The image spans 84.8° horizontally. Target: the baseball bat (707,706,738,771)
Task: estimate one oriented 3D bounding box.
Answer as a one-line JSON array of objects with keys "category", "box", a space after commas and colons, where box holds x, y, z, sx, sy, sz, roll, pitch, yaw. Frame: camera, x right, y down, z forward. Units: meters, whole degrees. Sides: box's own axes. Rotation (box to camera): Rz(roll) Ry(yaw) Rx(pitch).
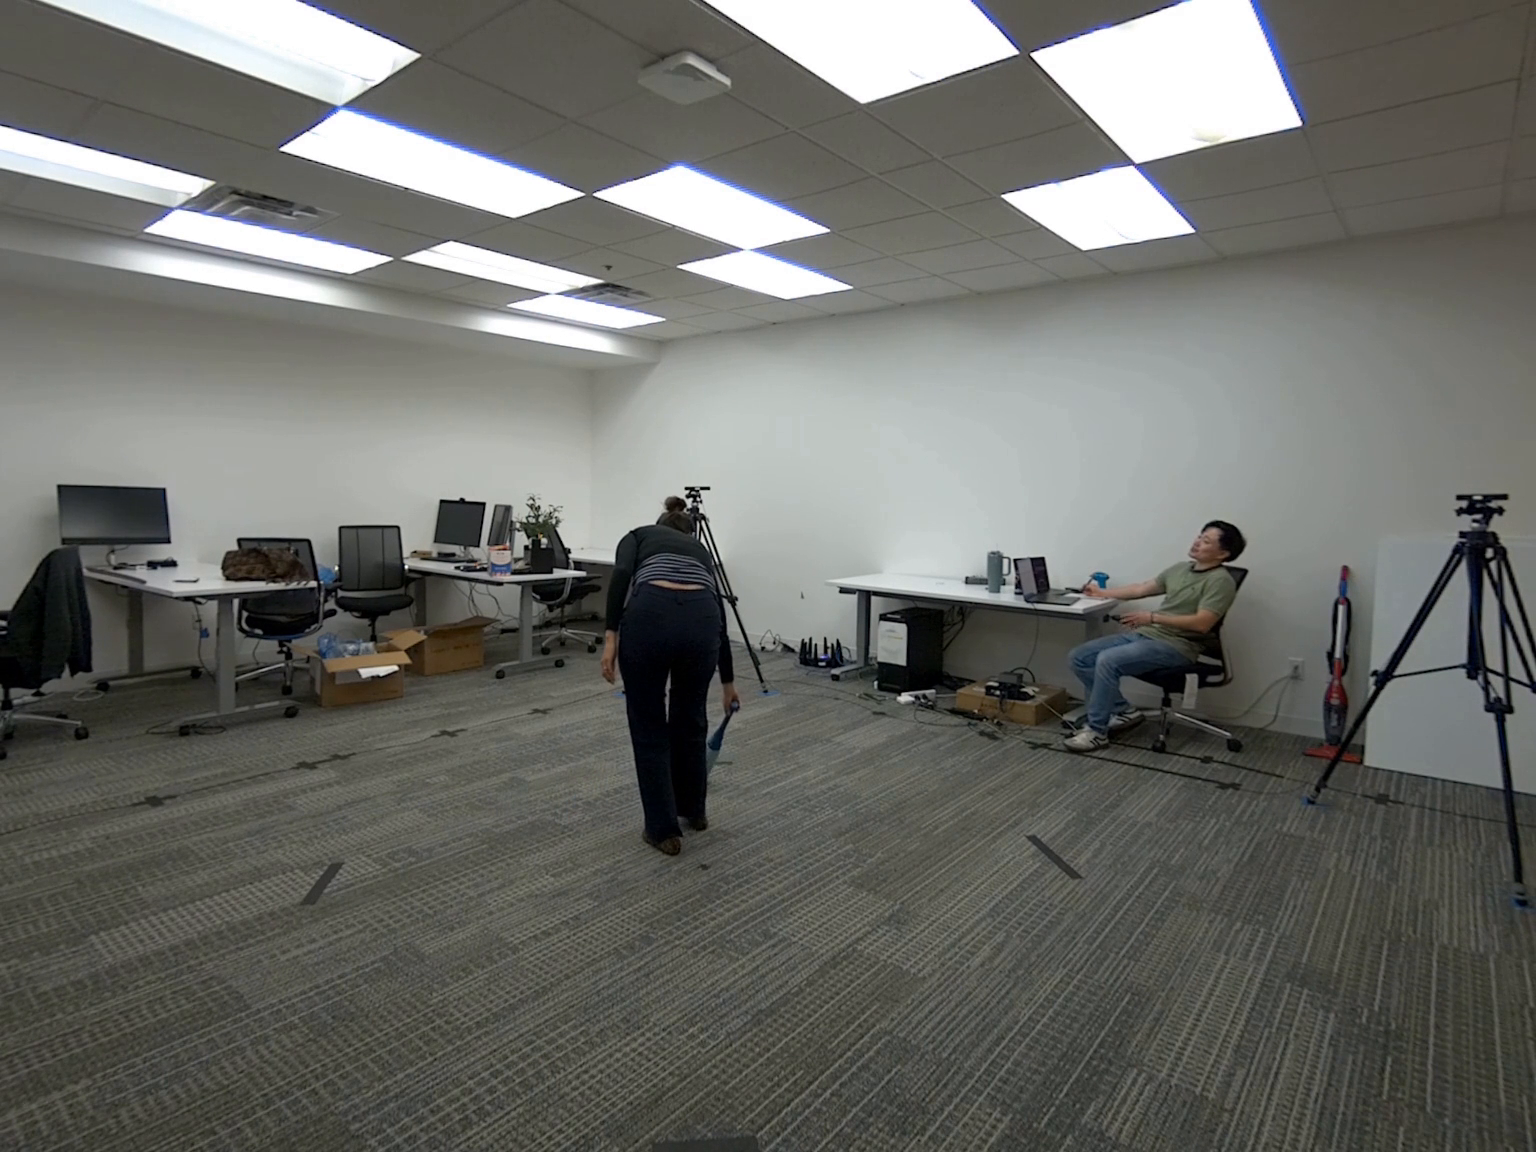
[{"category": "baseball bat", "box": [-0.259, 0.755, 3.886, 0.088, 0.536, 0.091, 15, 37, -13]}]
